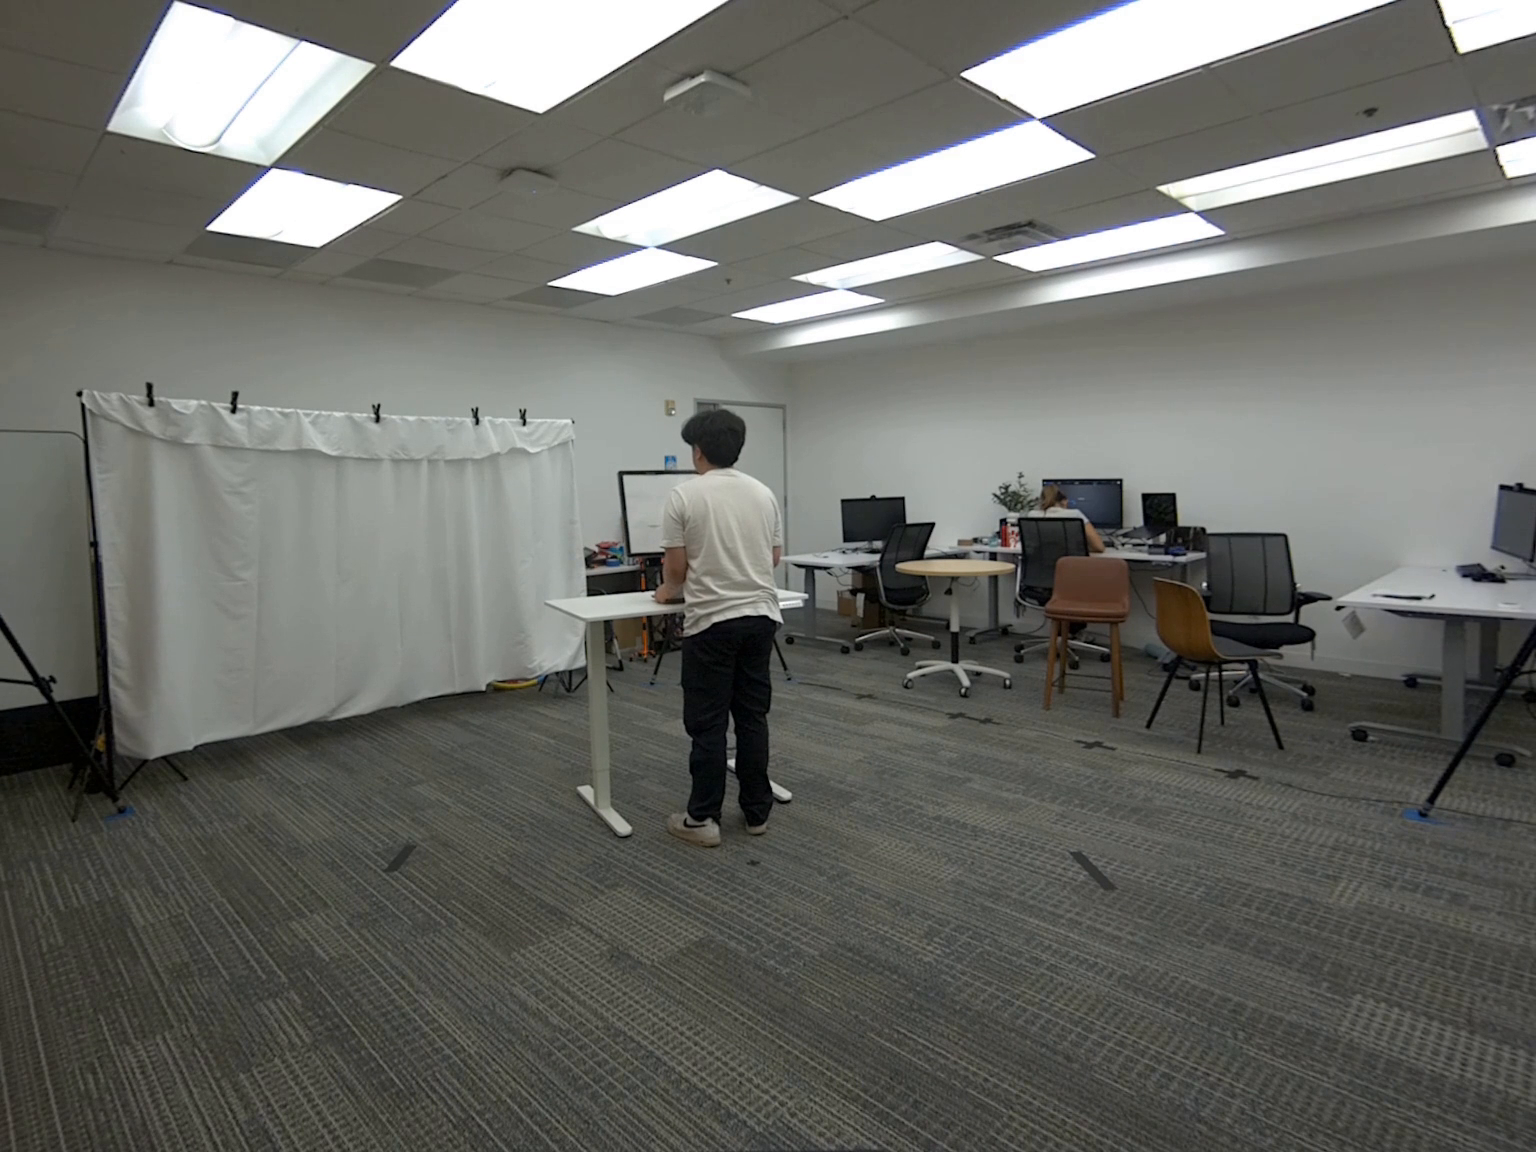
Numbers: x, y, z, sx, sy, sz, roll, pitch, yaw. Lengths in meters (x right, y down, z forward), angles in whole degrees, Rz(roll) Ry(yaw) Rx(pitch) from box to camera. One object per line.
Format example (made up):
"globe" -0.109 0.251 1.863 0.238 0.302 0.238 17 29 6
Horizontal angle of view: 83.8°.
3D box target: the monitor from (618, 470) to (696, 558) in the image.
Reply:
"monitor" -0.374 -0.176 3.665 0.553 0.556 0.214 -5 -3 -27
